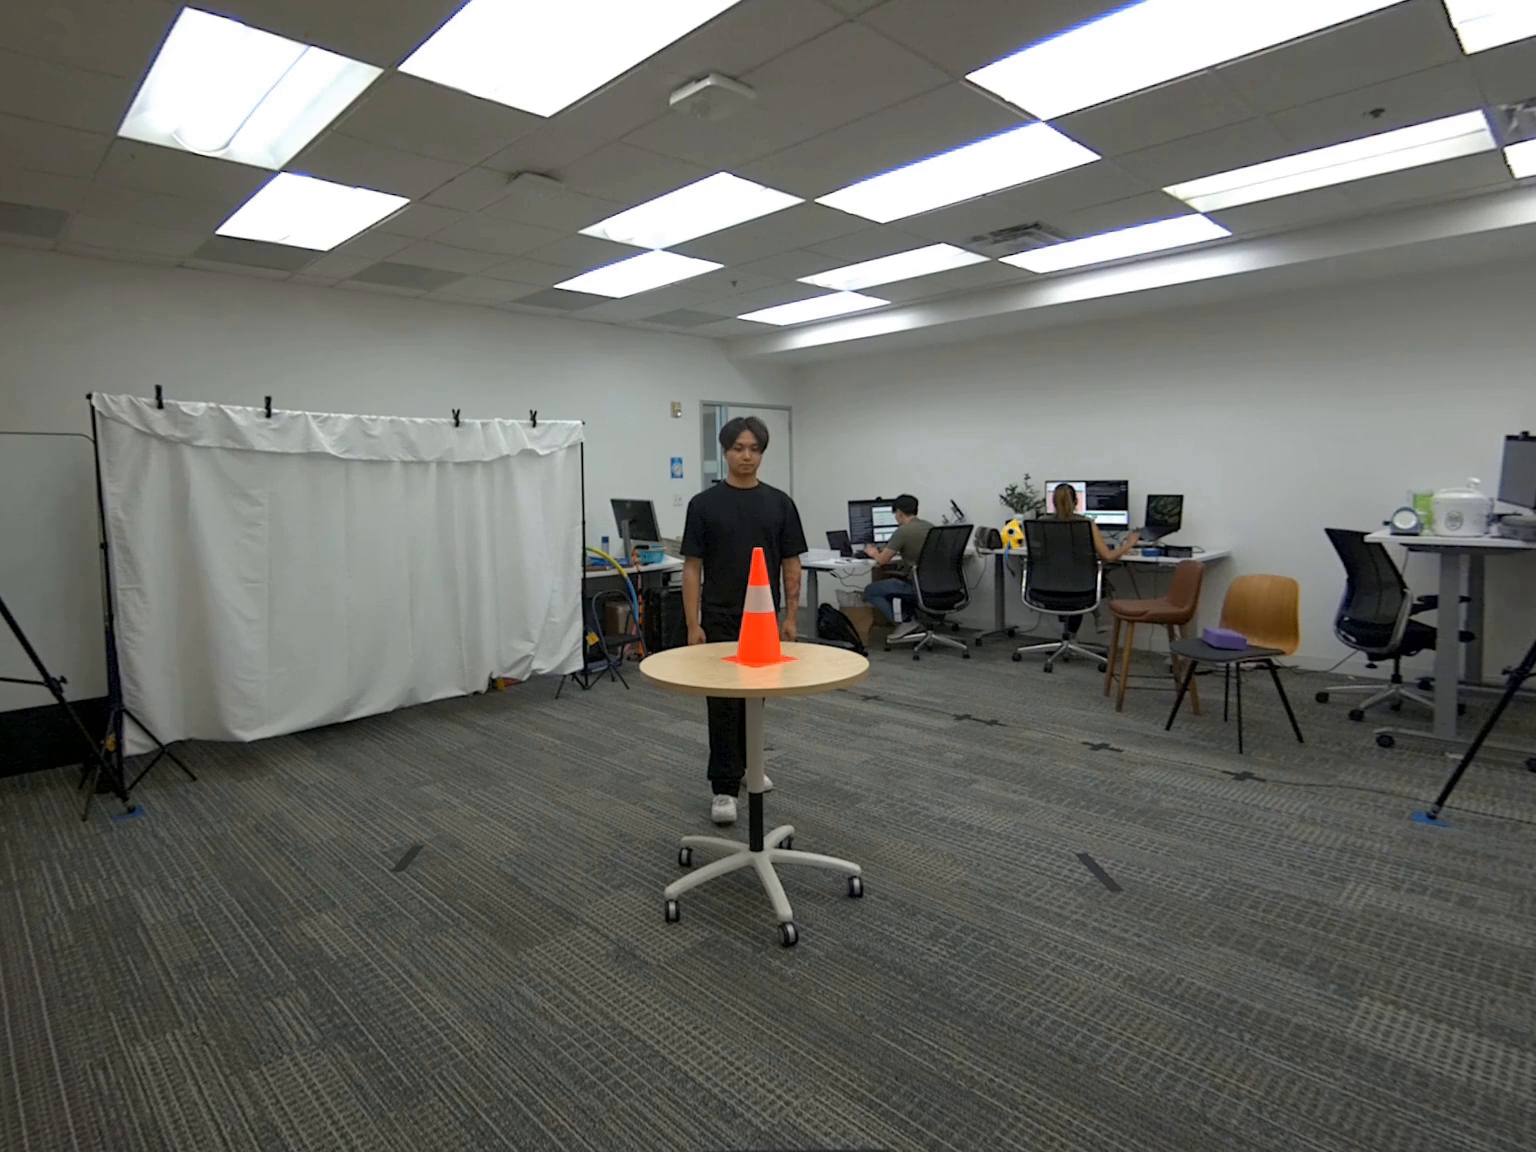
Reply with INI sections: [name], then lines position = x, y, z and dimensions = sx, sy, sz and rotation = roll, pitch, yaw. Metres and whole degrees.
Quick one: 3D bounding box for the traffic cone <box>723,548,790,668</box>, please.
[traffic cone]
position = -0.033, 0.102, 2.906
dimensions = 0.209, 0.383, 0.199
rotation = 1, 4, 42
